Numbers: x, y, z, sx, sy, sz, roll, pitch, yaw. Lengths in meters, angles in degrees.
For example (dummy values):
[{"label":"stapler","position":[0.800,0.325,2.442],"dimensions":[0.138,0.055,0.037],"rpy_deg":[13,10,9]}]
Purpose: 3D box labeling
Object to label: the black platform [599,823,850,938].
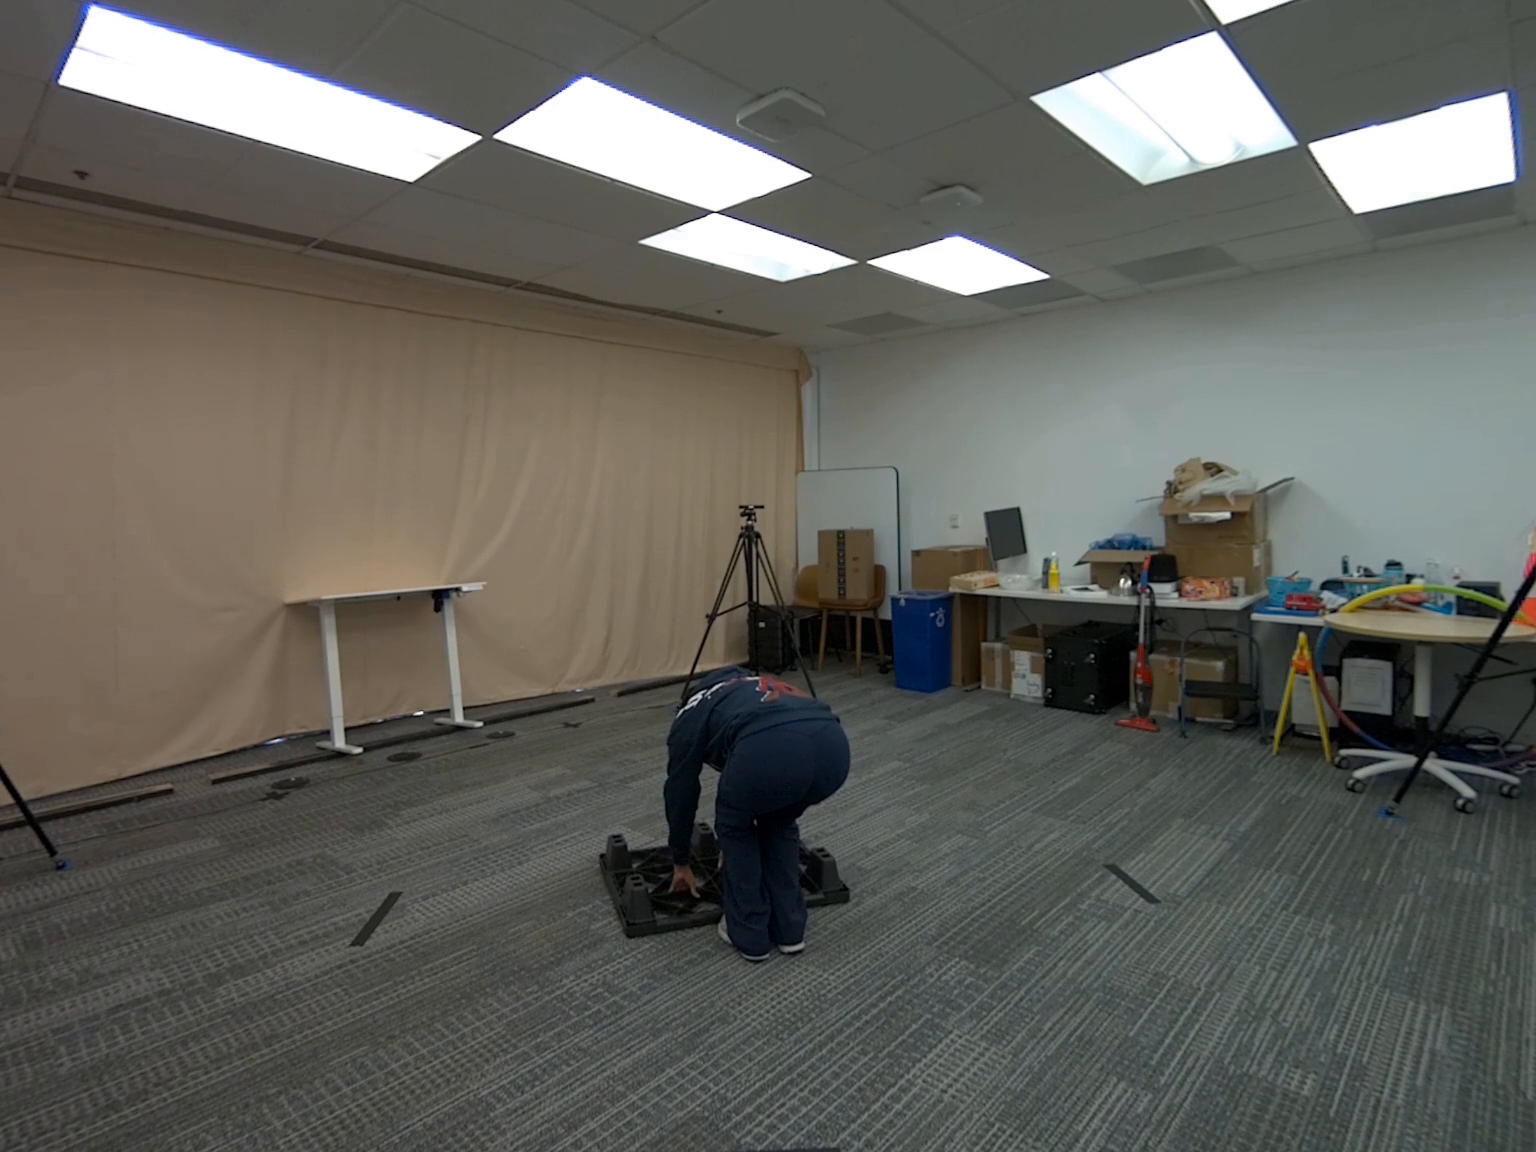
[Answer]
[{"label":"black platform","position":[-0.185,1.060,3.105],"dimensions":[0.791,0.143,0.618],"rpy_deg":[-3,6,-19]}]
